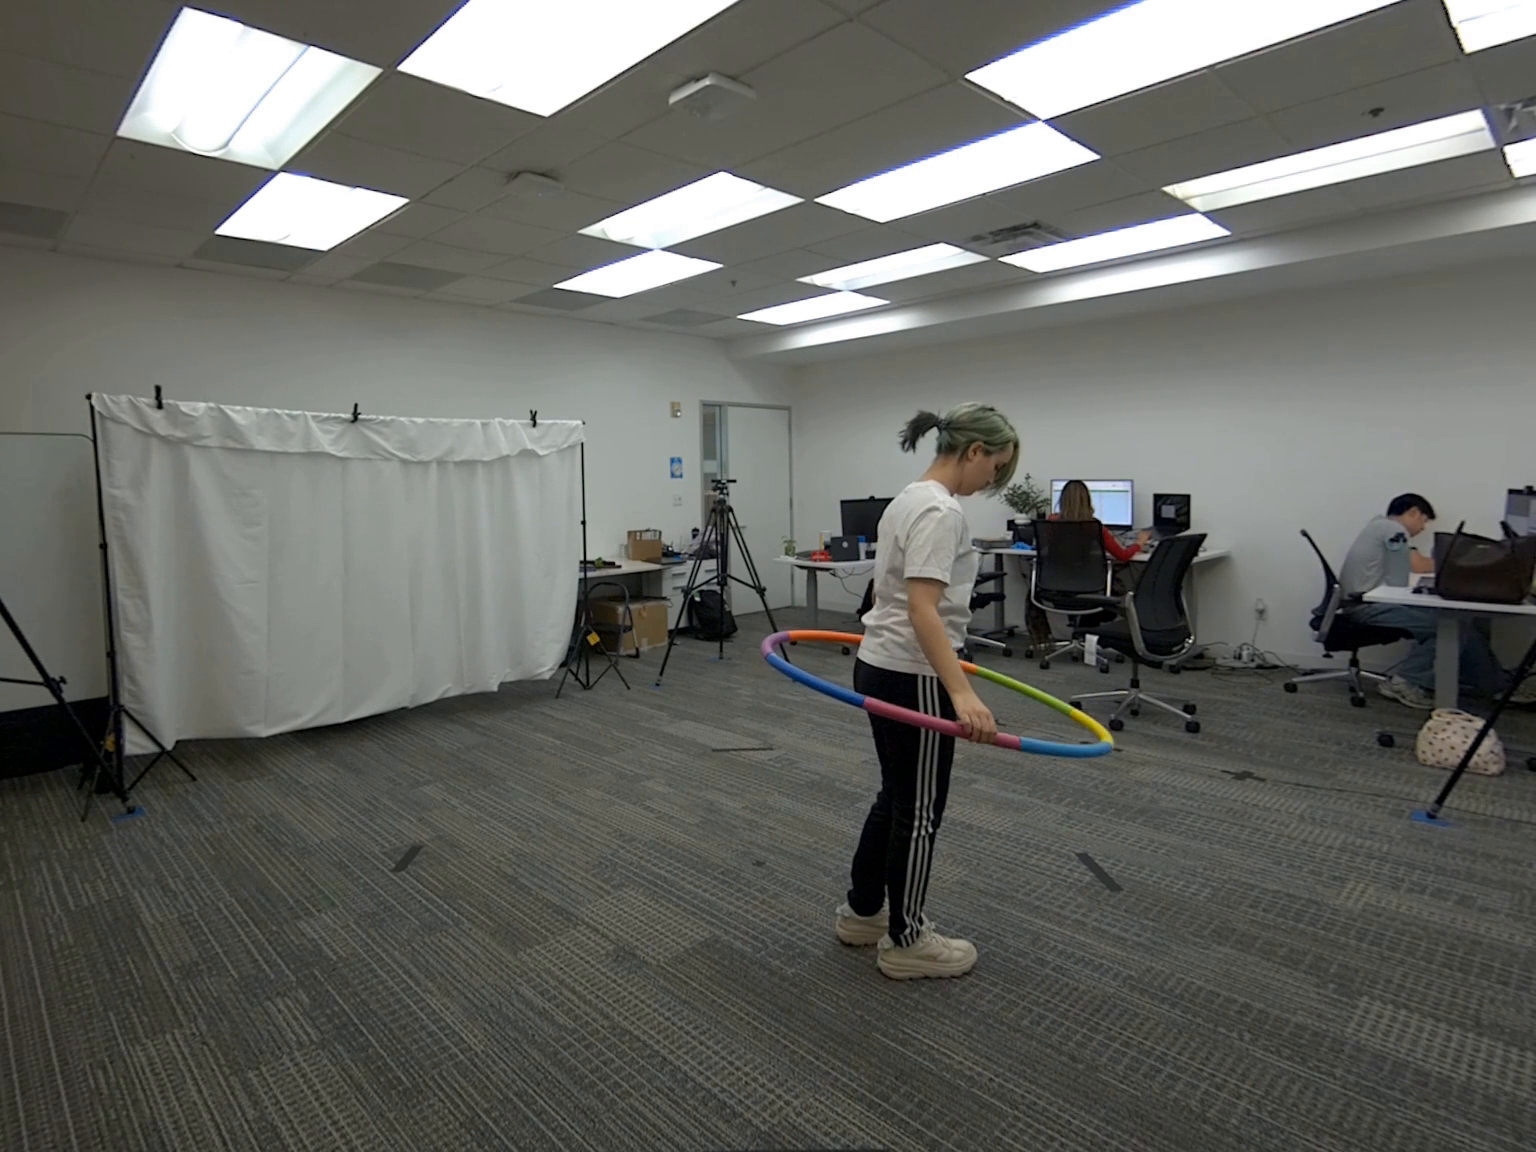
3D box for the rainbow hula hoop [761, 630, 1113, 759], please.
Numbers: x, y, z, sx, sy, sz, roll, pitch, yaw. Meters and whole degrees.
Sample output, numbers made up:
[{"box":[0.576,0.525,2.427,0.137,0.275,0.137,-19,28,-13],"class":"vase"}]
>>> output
[{"box":[0.463,0.305,2.451,0.983,0.051,0.992,13,7,-3],"class":"rainbow hula hoop"}]
